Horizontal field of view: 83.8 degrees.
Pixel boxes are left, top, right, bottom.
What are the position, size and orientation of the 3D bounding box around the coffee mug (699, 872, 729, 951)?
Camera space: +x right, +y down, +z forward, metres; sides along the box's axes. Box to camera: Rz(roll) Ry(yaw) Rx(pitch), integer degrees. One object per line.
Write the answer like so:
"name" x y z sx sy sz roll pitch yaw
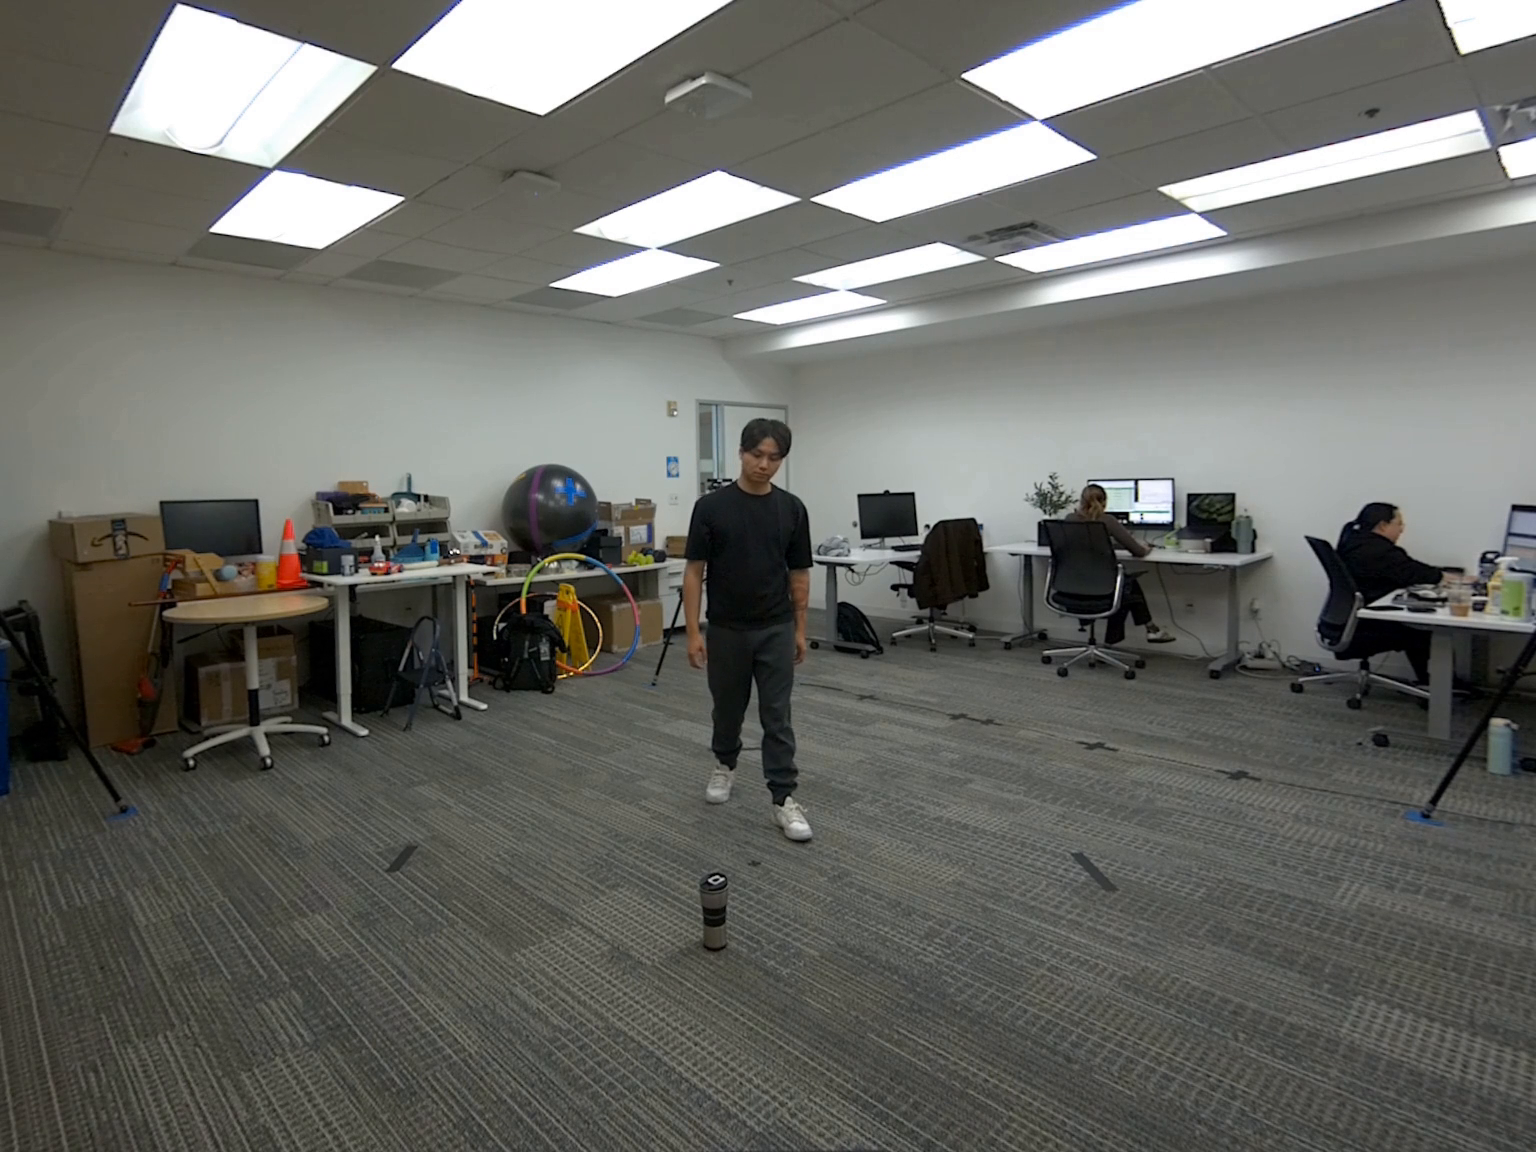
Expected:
"coffee mug" -0.145 1.015 2.576 0.090 0.202 0.119 -1 6 41
